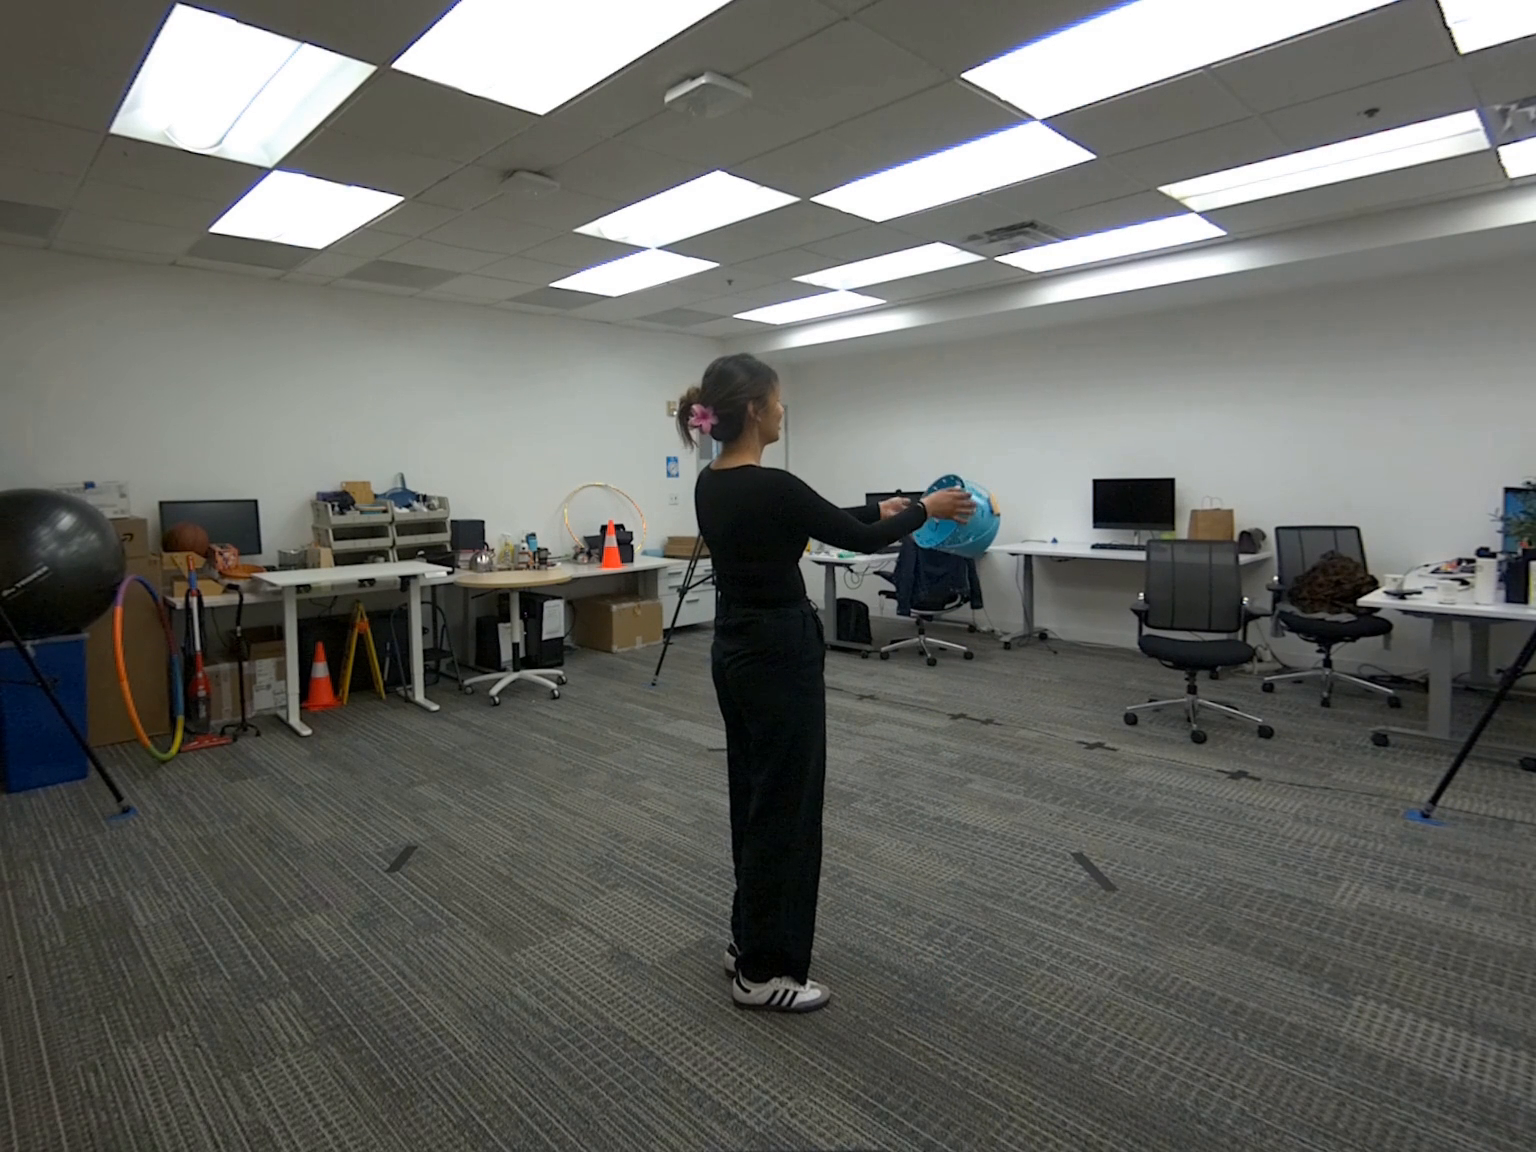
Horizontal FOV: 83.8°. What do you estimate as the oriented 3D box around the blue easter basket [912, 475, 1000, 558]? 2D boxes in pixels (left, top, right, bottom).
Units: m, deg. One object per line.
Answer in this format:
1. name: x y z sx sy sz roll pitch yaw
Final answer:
1. blue easter basket: 0.563 -0.163 2.496 0.152 0.244 0.249 19 -4 -24
